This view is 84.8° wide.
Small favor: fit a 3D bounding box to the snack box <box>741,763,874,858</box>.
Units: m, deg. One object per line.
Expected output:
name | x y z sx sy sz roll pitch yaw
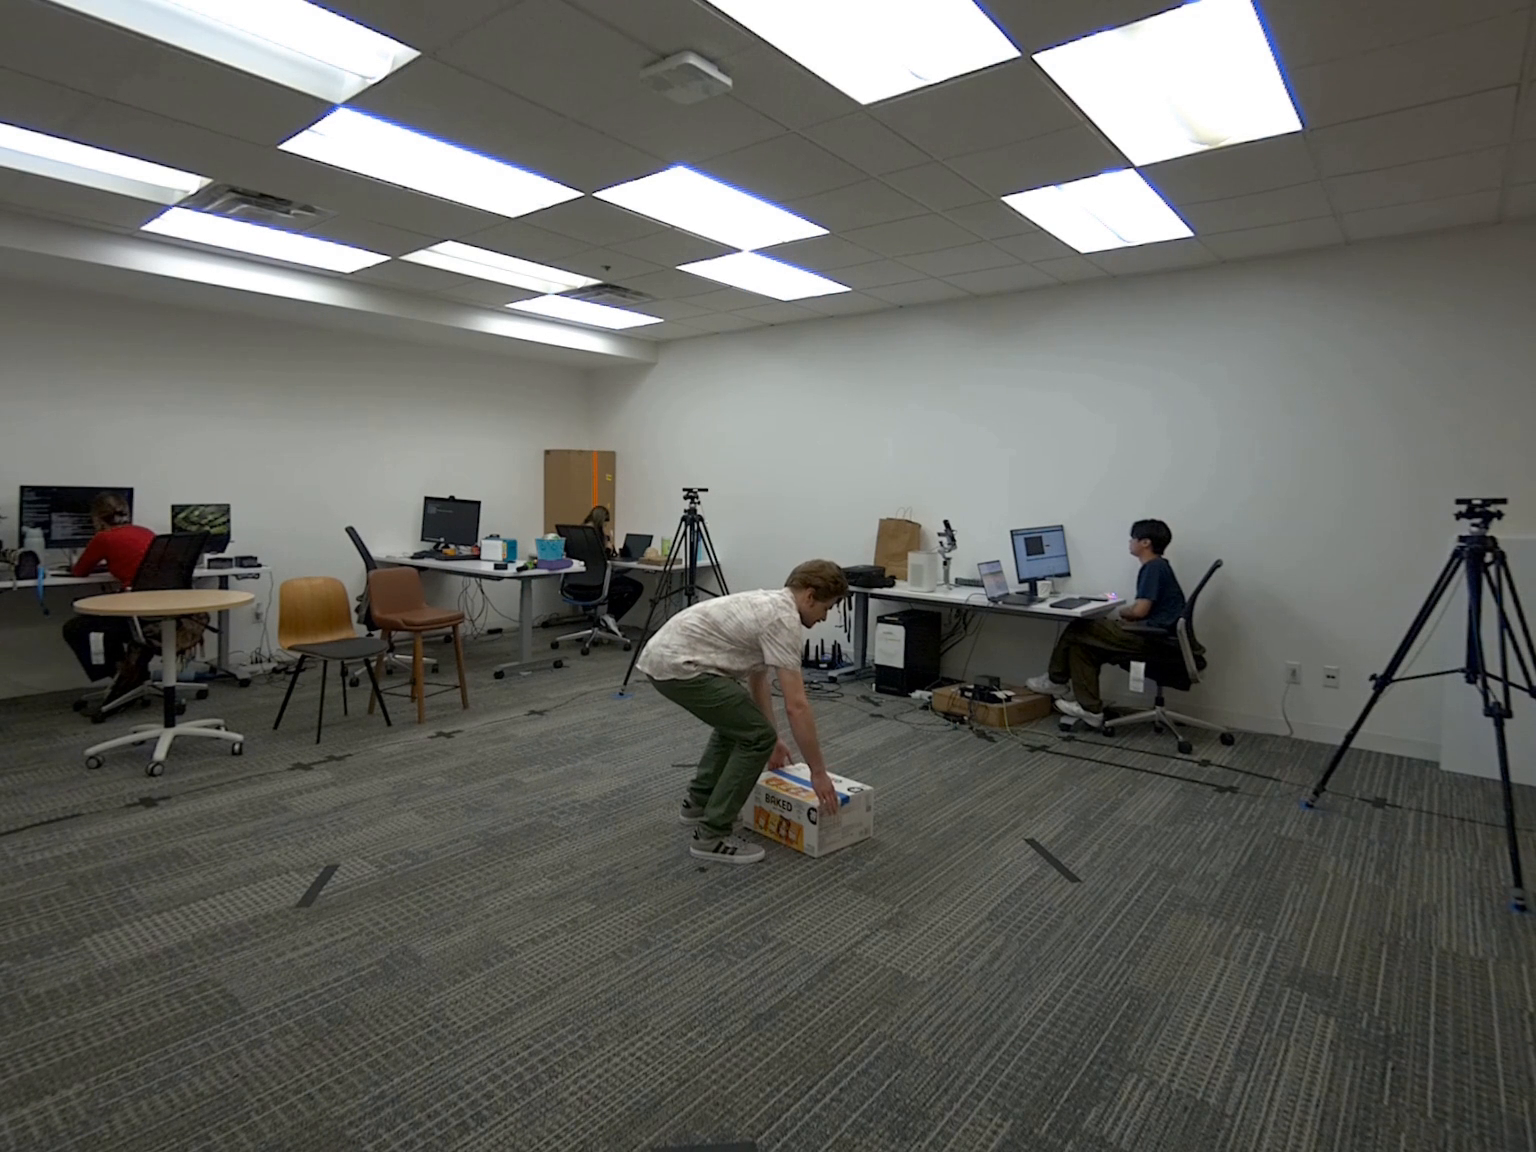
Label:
snack box | 0.154 0.940 3.469 0.330 0.205 0.419 -4 7 -43
